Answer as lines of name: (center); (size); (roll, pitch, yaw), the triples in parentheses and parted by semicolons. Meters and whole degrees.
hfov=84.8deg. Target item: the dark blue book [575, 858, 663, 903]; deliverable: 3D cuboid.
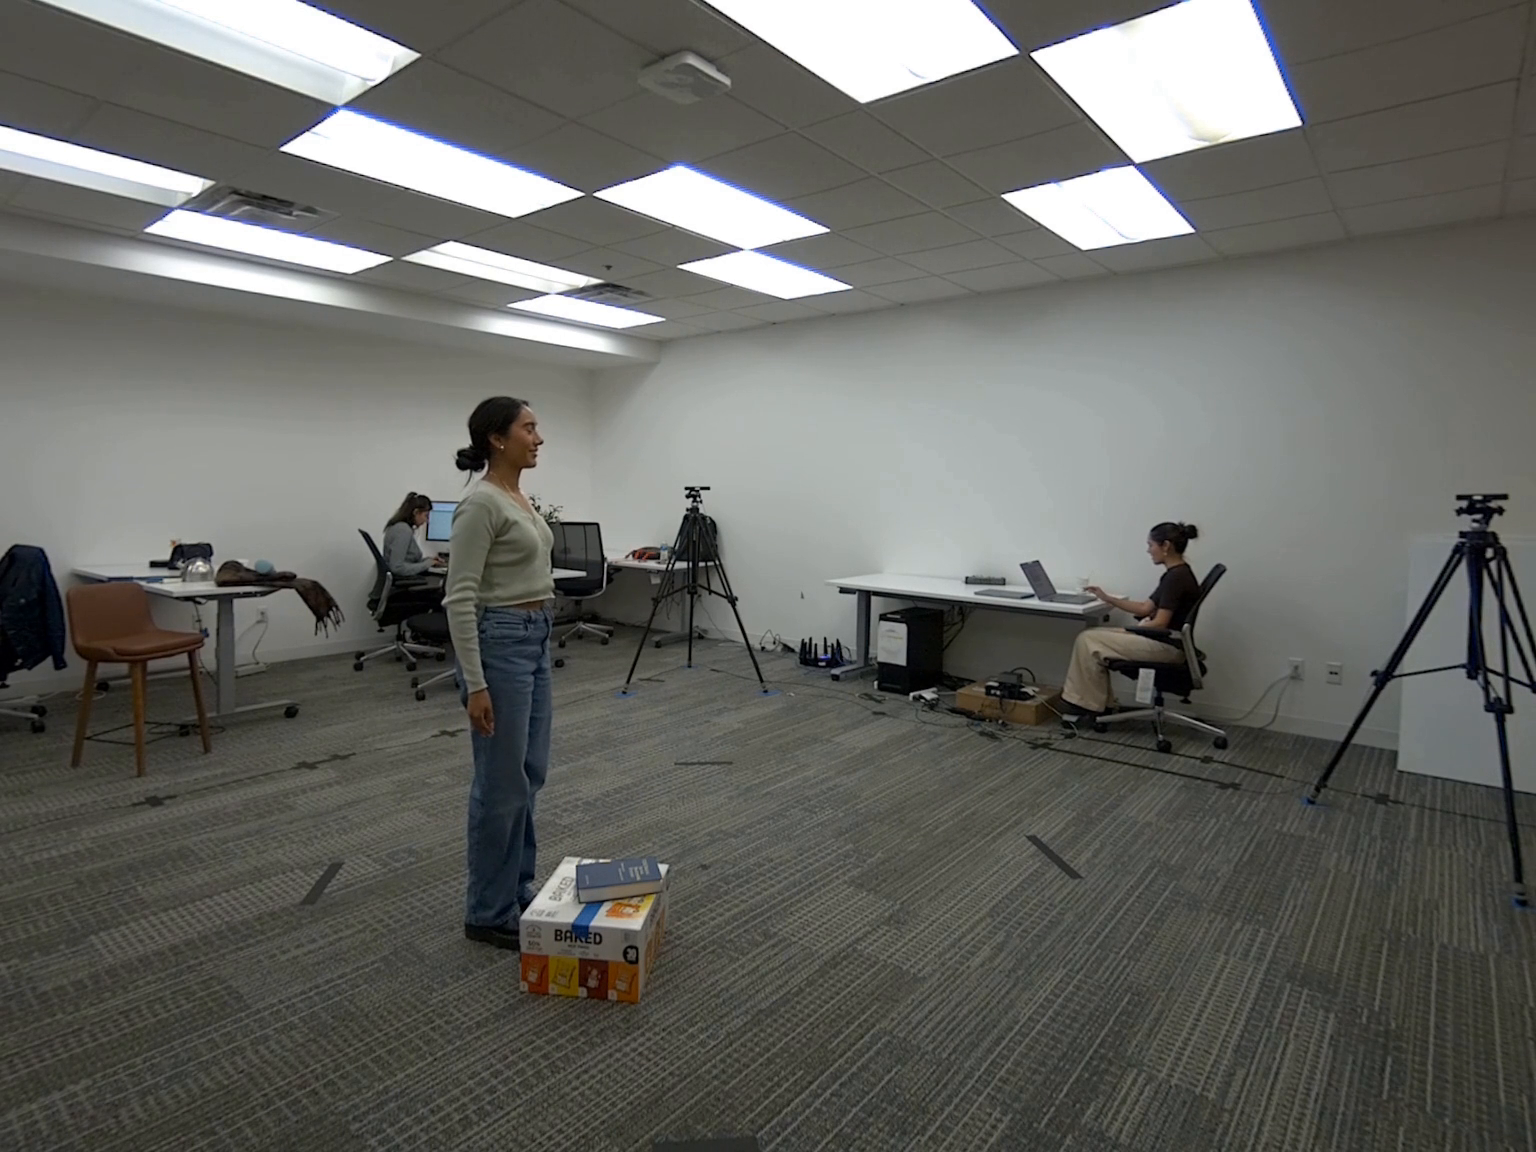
dark blue book: (-0.454, 0.906, 2.526); (0.242, 0.045, 0.167); (-2, 7, -14)
